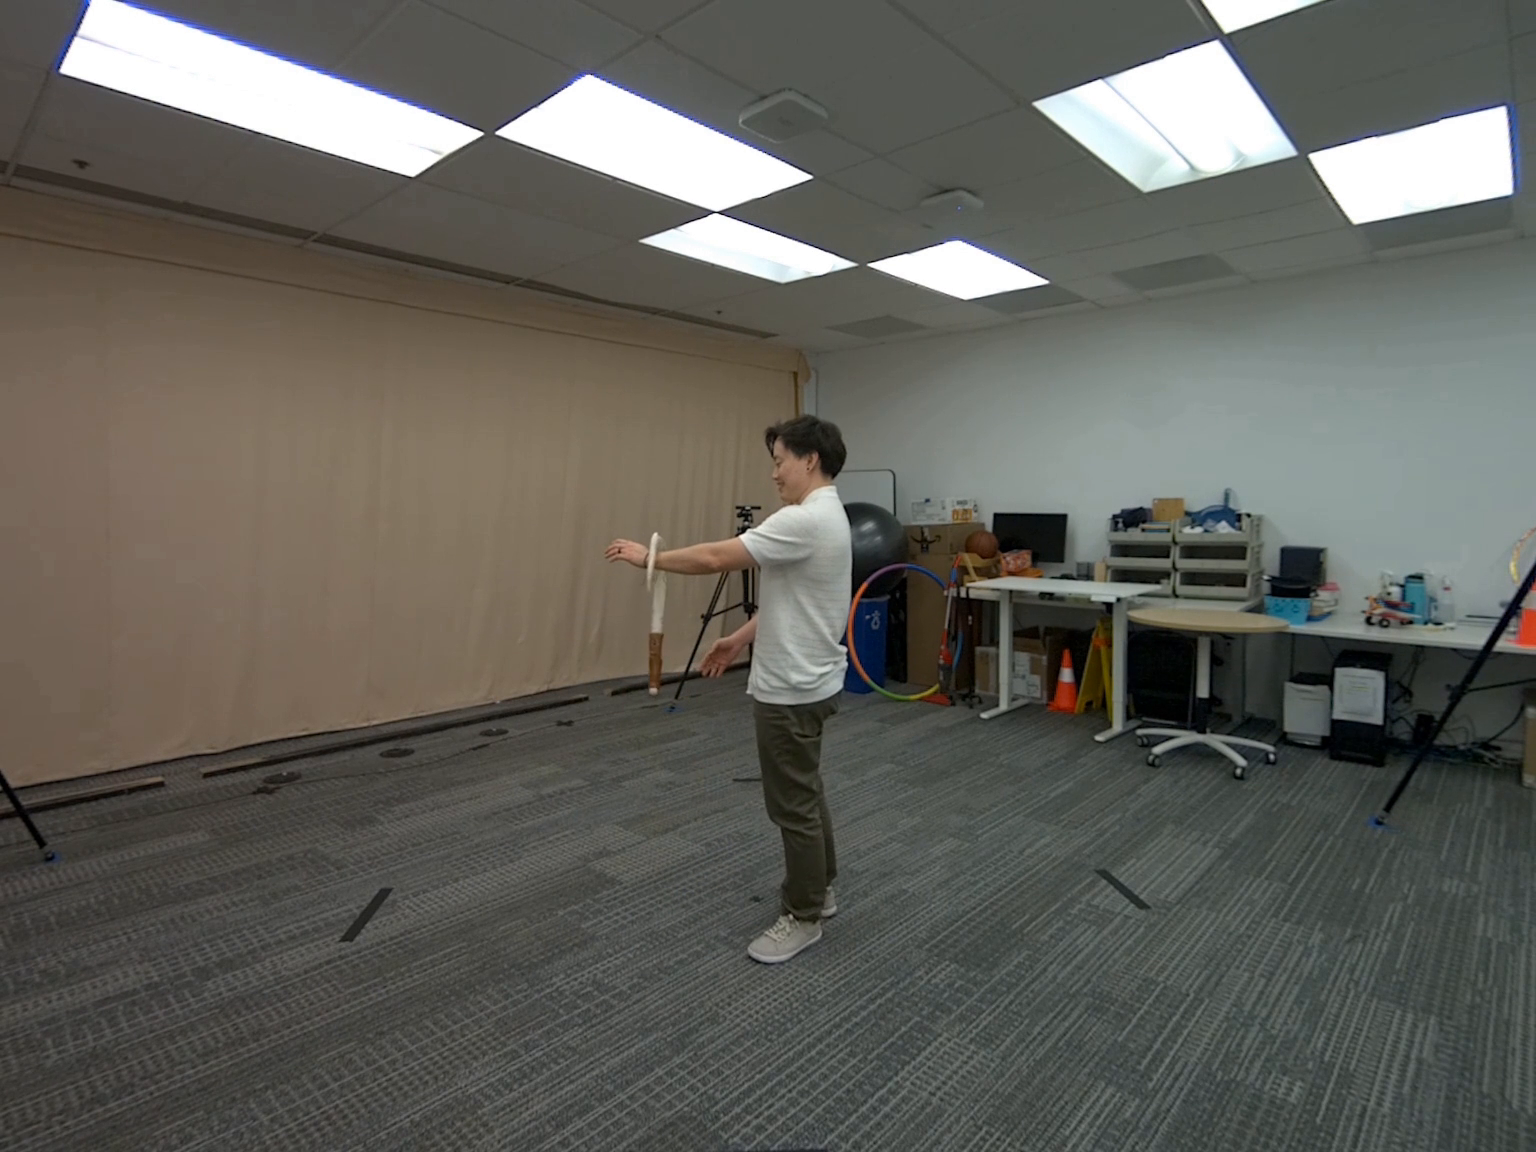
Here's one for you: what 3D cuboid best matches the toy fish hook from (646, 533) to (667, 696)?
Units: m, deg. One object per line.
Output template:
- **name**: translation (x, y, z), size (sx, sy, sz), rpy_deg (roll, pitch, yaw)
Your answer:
- **toy fish hook**: translation (-0.359, 0.126, 2.631), size (0.049, 0.509, 0.221), rpy_deg (-2, -8, 7)
